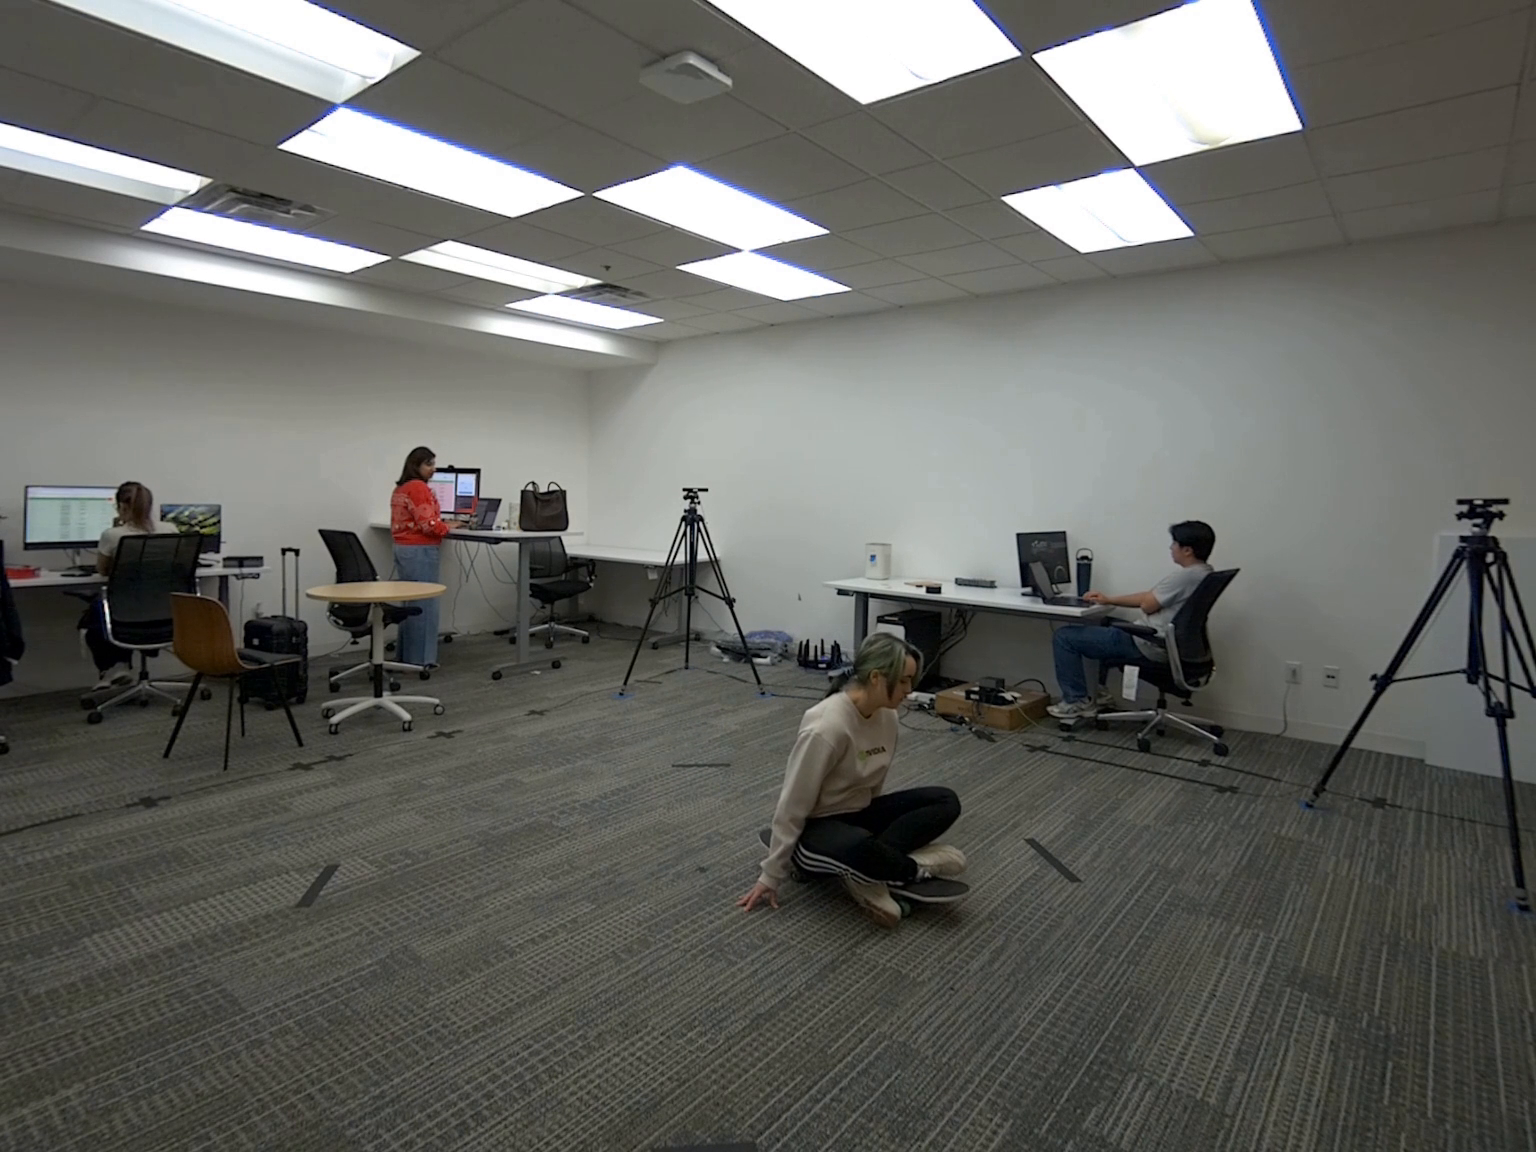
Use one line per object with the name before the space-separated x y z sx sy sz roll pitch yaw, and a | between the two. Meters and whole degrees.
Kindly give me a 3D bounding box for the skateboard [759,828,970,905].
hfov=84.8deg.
skateboard | 0.320 1.046 2.979 0.809 0.110 0.188 4 4 32
